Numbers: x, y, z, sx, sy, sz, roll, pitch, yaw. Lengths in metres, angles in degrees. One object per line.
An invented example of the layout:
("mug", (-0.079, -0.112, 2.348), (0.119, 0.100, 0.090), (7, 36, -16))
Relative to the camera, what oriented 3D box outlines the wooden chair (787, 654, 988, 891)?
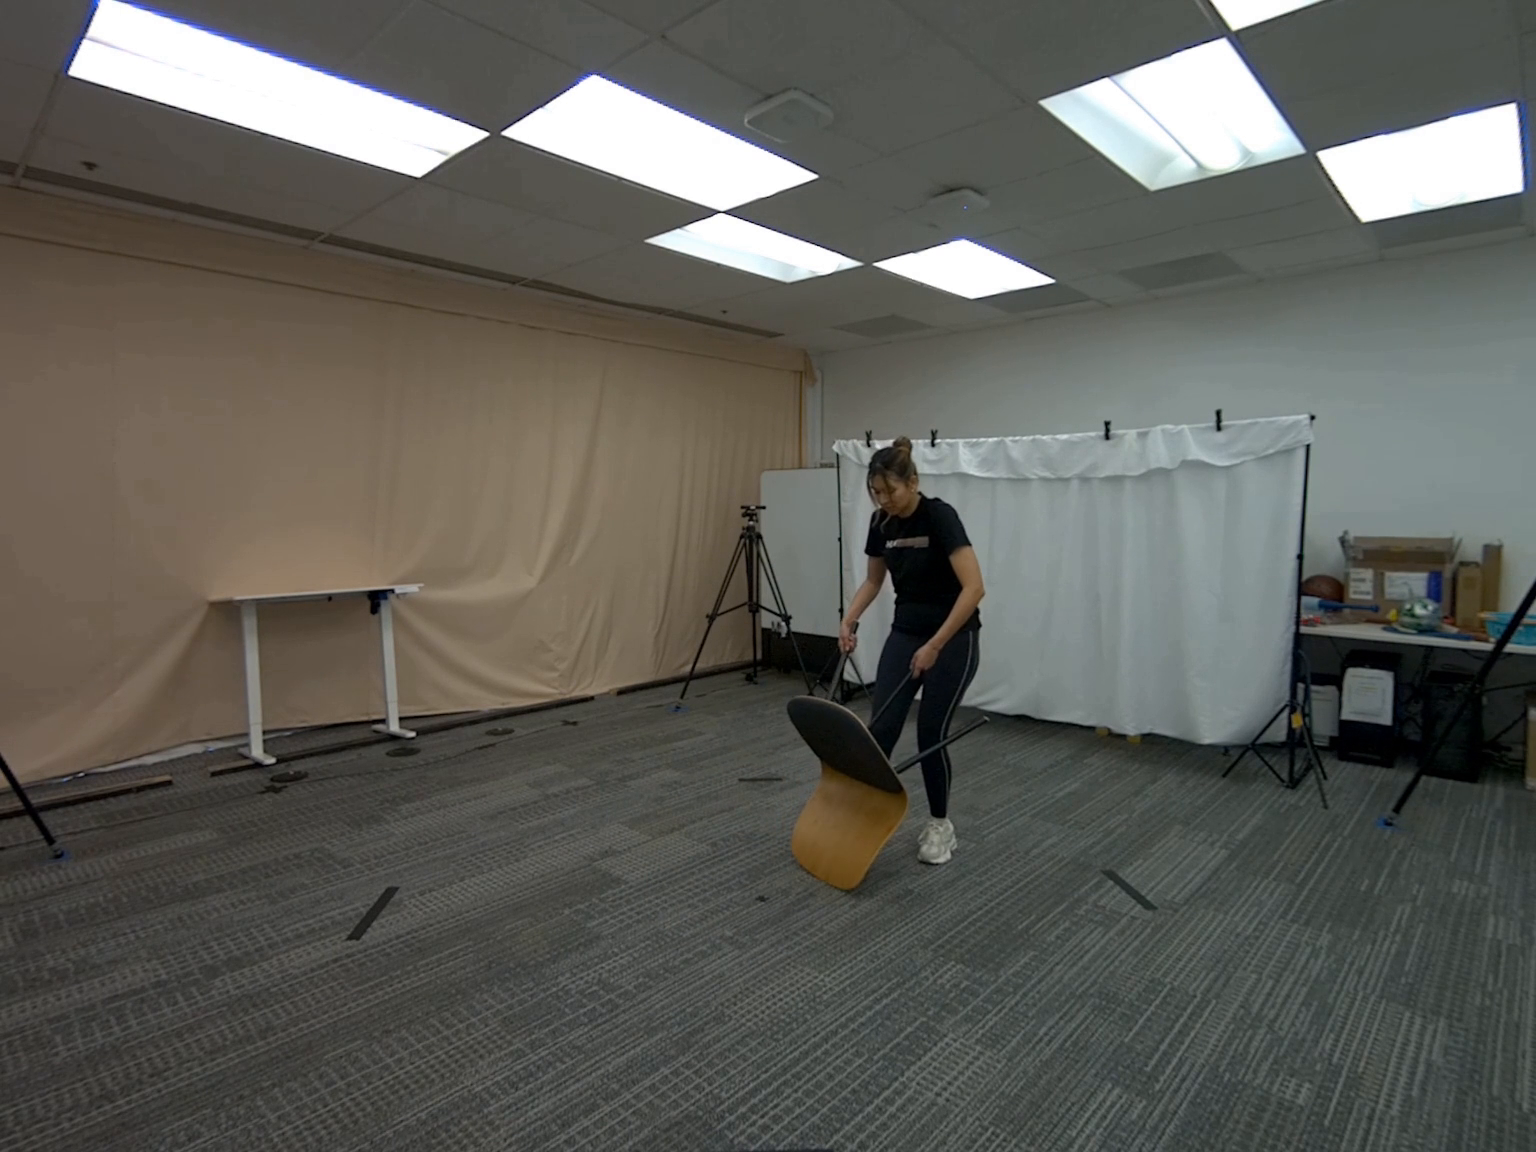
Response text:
("wooden chair", (0.333, 0.646, 3.171), (0.873, 0.509, 0.493), (-49, 29, -21))
